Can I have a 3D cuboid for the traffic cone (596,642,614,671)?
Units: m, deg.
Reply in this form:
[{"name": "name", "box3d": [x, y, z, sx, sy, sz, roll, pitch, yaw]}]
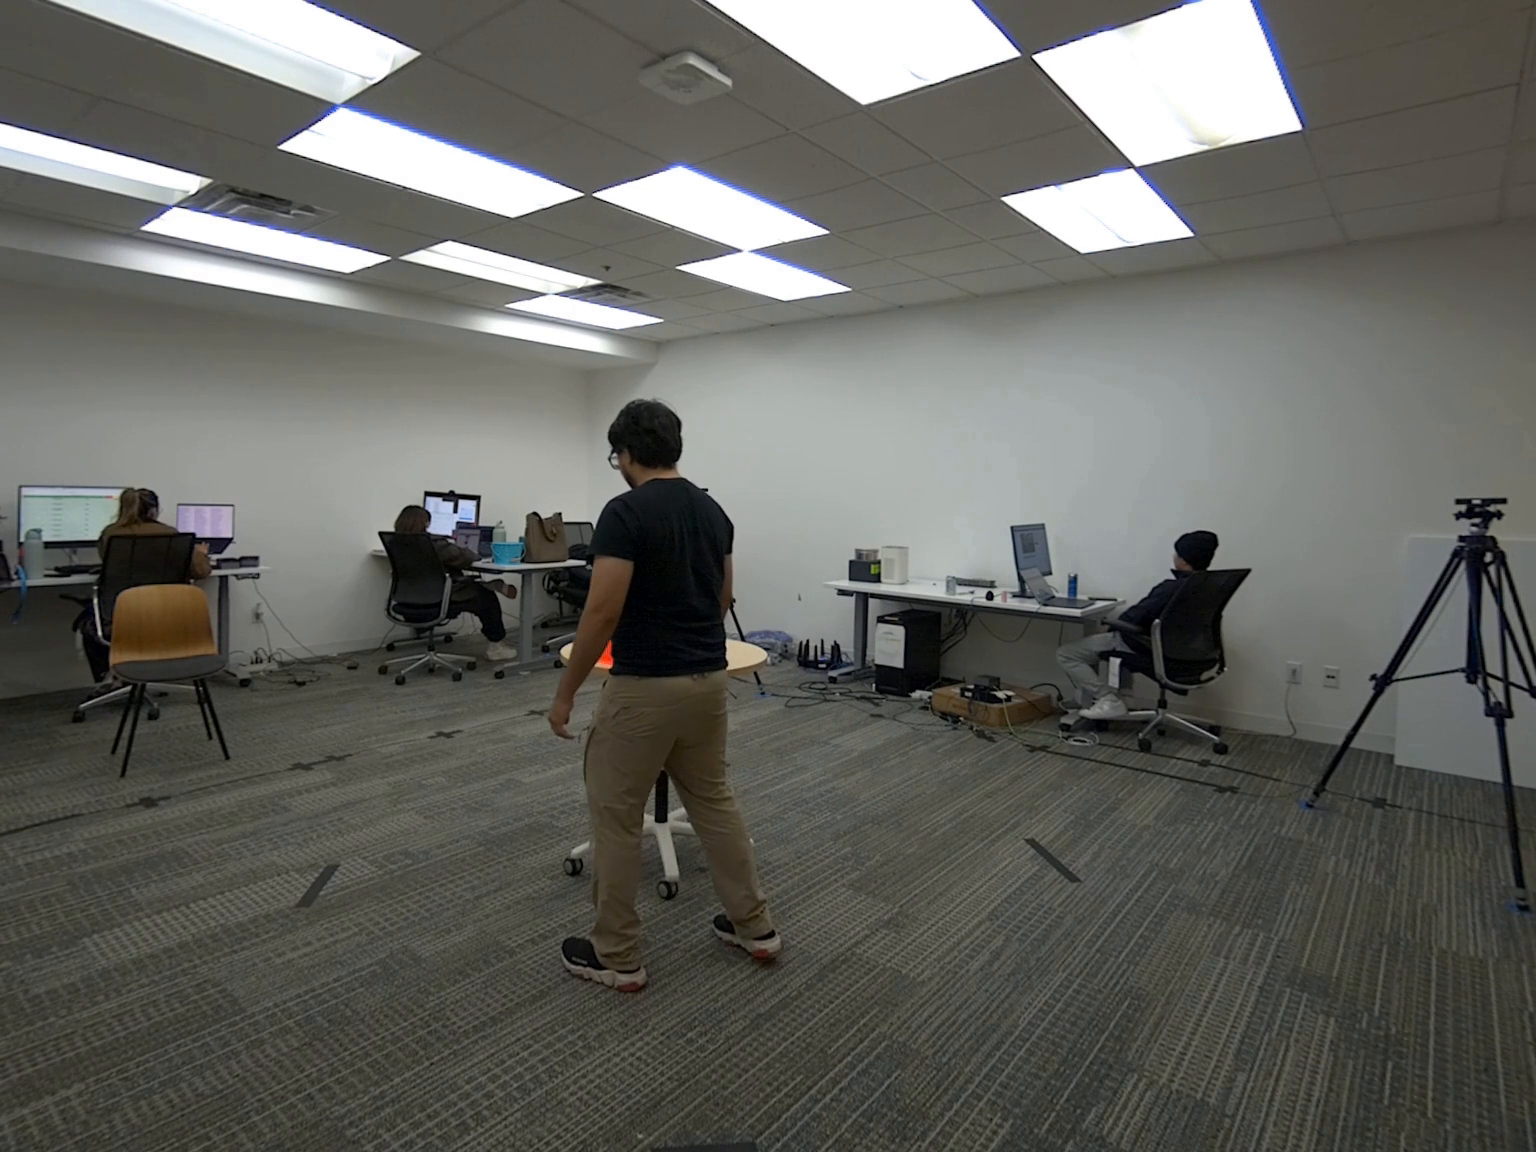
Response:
[{"name": "traffic cone", "box3d": [-0.534, 0.102, 2.993, 0.211, 0.383, 0.198, 3, 3, 29]}]
